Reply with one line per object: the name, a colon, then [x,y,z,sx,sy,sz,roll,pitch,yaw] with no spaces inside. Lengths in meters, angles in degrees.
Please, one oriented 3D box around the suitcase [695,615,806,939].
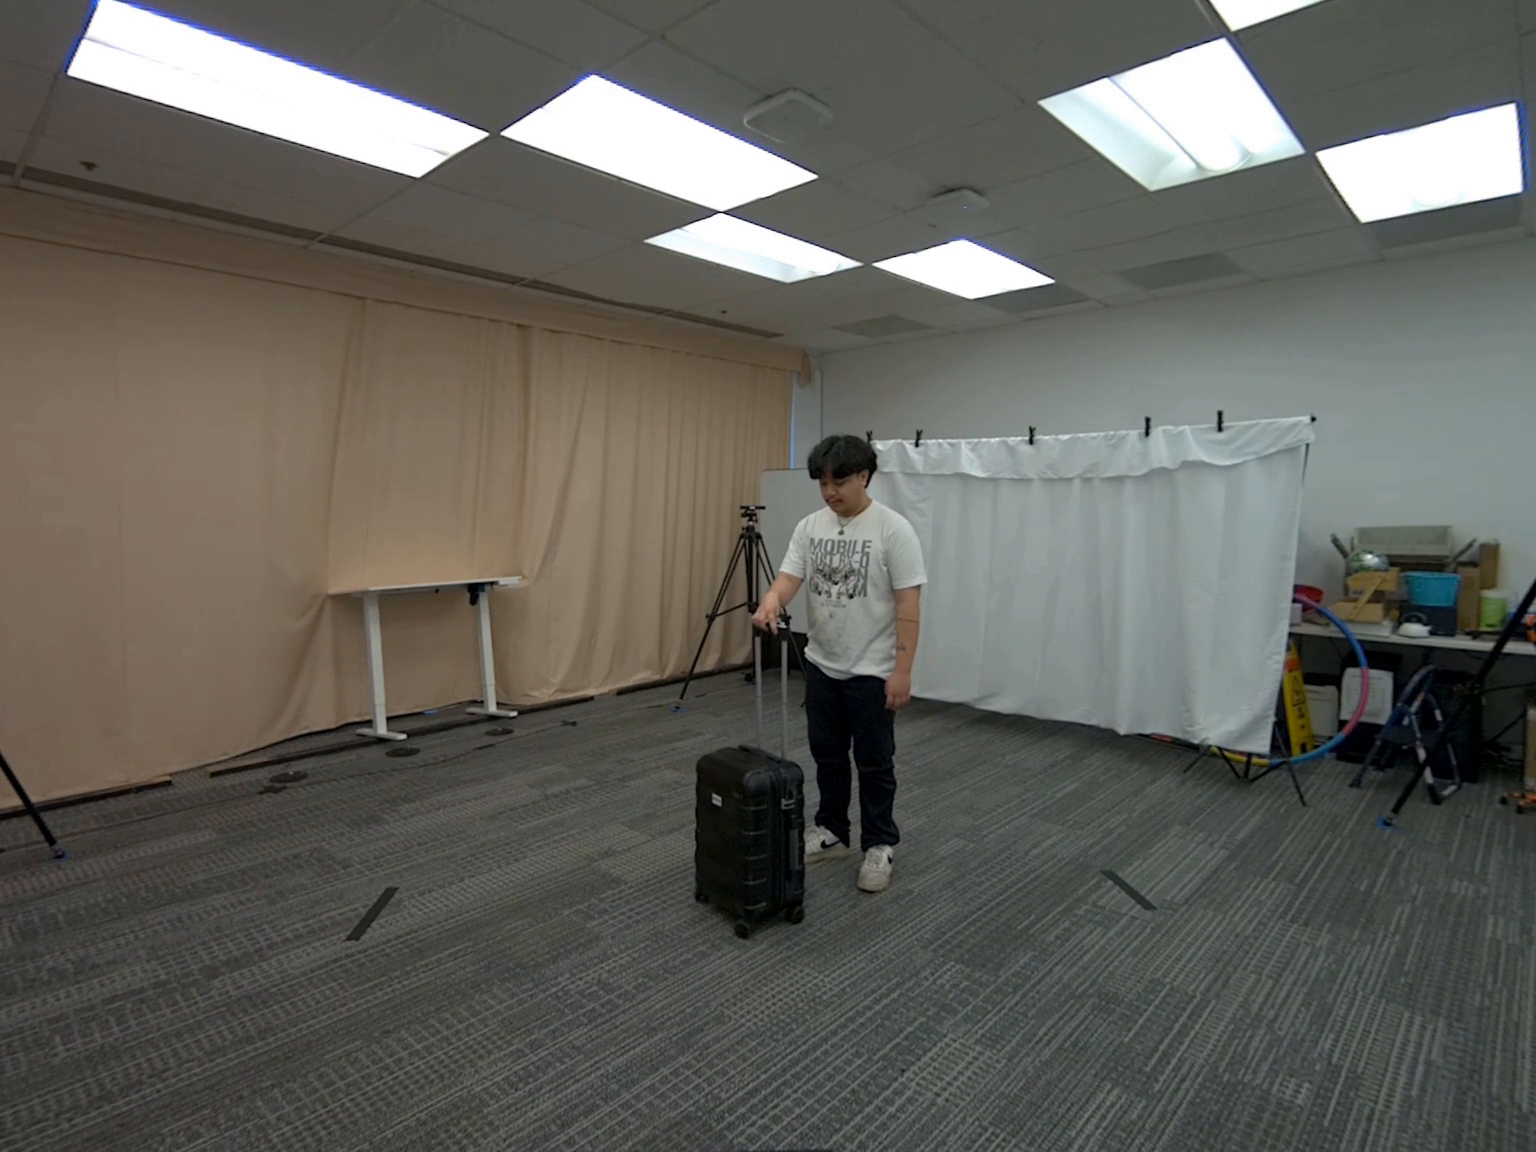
suitcase: [-0.063,0.677,2.872,0.249,0.977,0.396,-2,3,-36]
